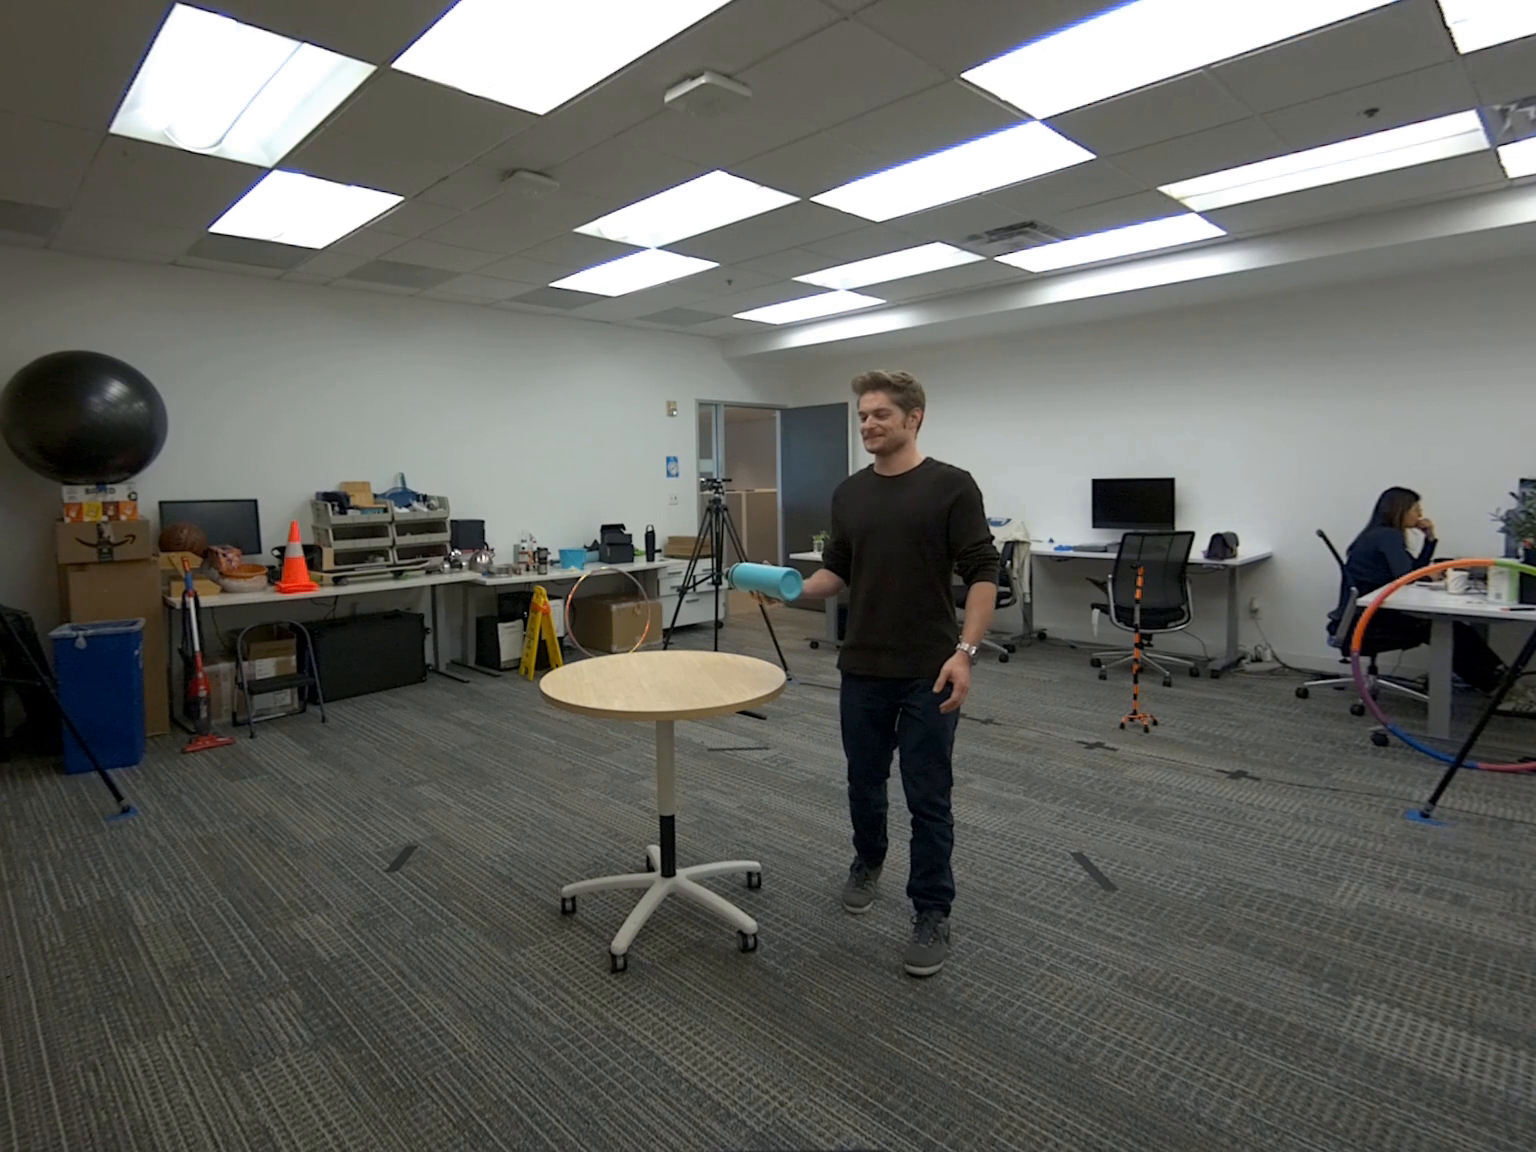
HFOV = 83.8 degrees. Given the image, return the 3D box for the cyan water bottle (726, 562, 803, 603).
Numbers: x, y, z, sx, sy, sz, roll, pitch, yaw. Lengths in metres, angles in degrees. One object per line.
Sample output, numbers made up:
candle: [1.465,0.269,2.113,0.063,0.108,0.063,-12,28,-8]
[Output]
cyan water bottle: [-0.015,0.011,2.498,0.090,0.092,0.292,-5,7,-37]
